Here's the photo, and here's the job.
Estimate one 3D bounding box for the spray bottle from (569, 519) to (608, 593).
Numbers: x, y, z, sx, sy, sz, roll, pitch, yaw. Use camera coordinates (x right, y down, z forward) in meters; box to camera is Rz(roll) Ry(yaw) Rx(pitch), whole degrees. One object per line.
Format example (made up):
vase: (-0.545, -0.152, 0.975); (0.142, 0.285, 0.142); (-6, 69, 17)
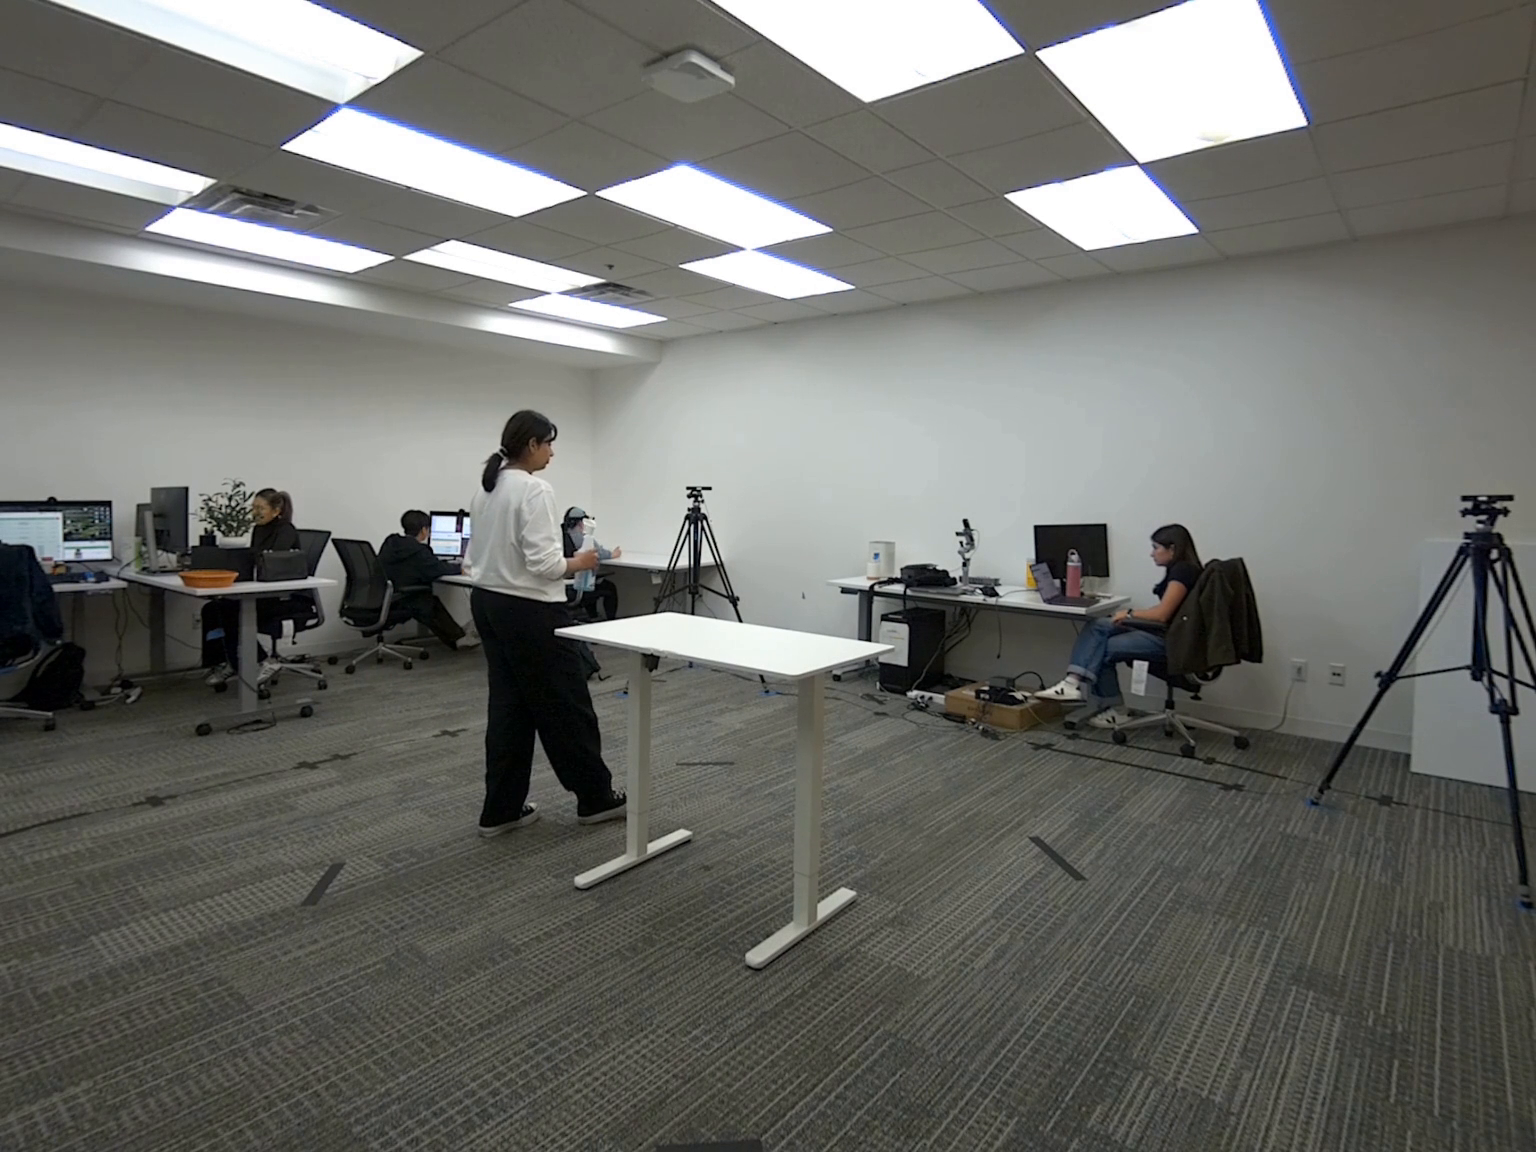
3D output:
spray bottle: (-0.774, -0.087, 3.564); (0.085, 0.297, 0.092); (3, 1, -20)
